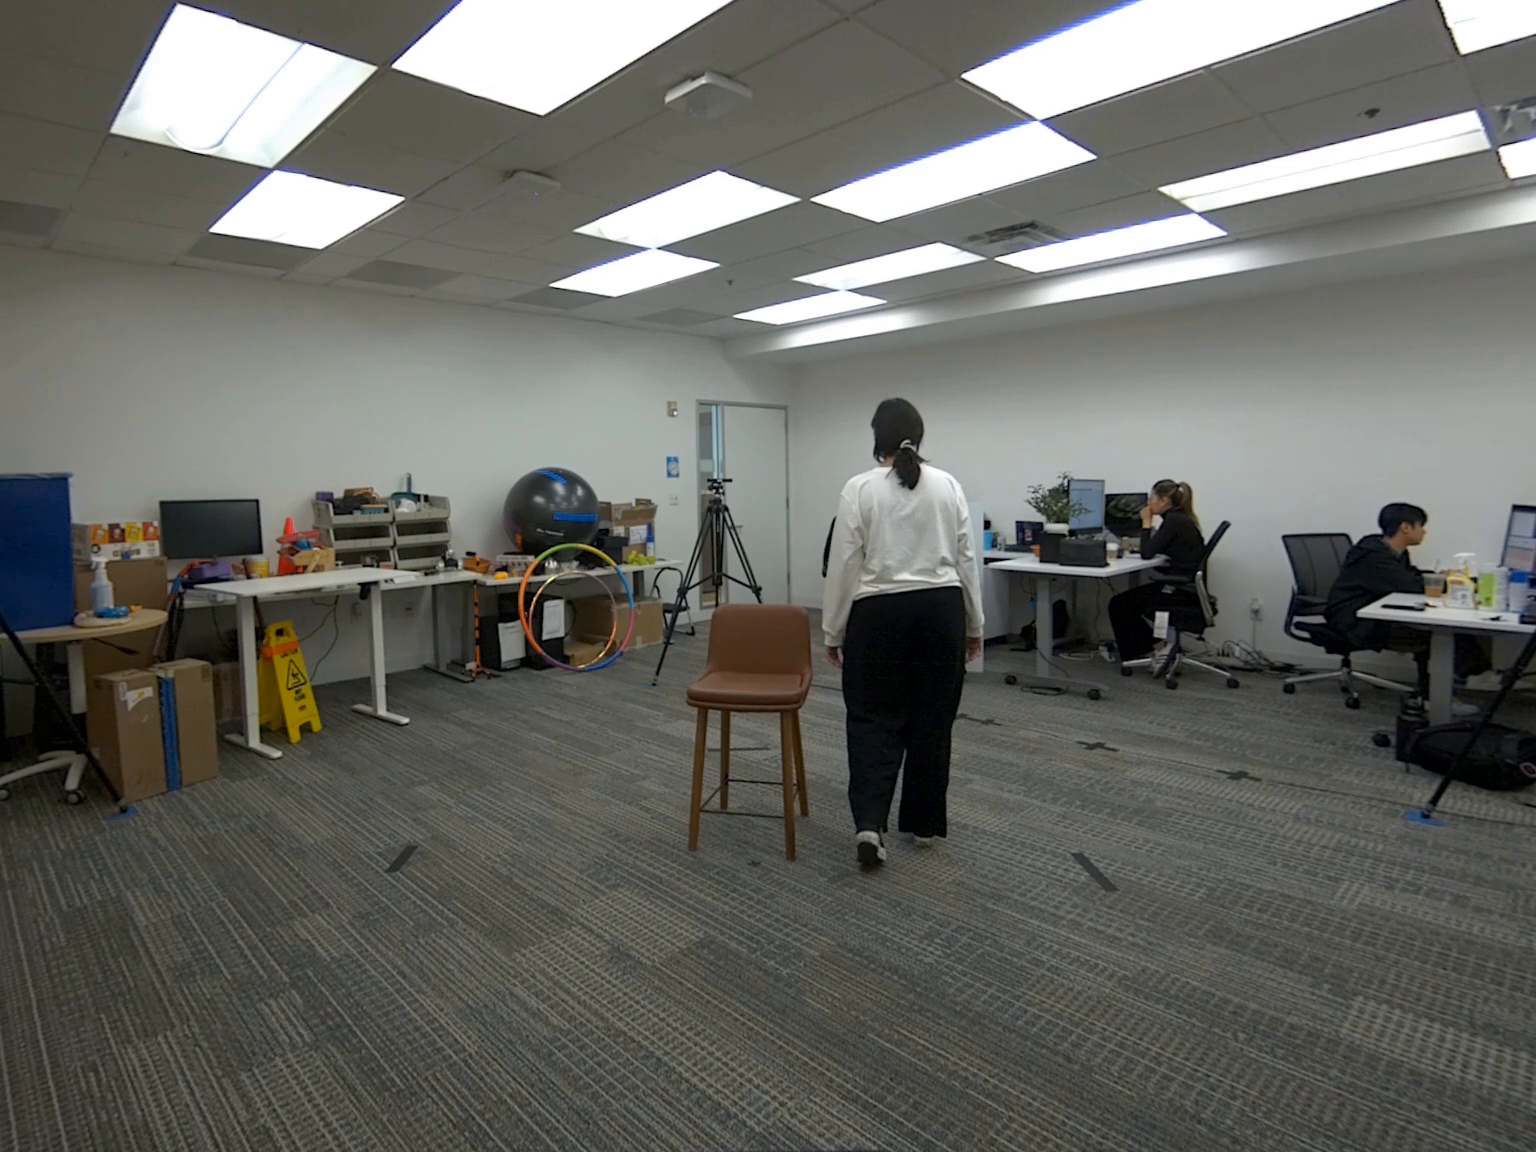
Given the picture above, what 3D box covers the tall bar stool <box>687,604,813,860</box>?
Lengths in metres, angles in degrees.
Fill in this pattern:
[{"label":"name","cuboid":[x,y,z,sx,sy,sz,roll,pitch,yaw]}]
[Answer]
[{"label":"tall bar stool","cuboid":[-0.063,0.581,3.373,0.463,0.888,0.462,0,2,14]}]
